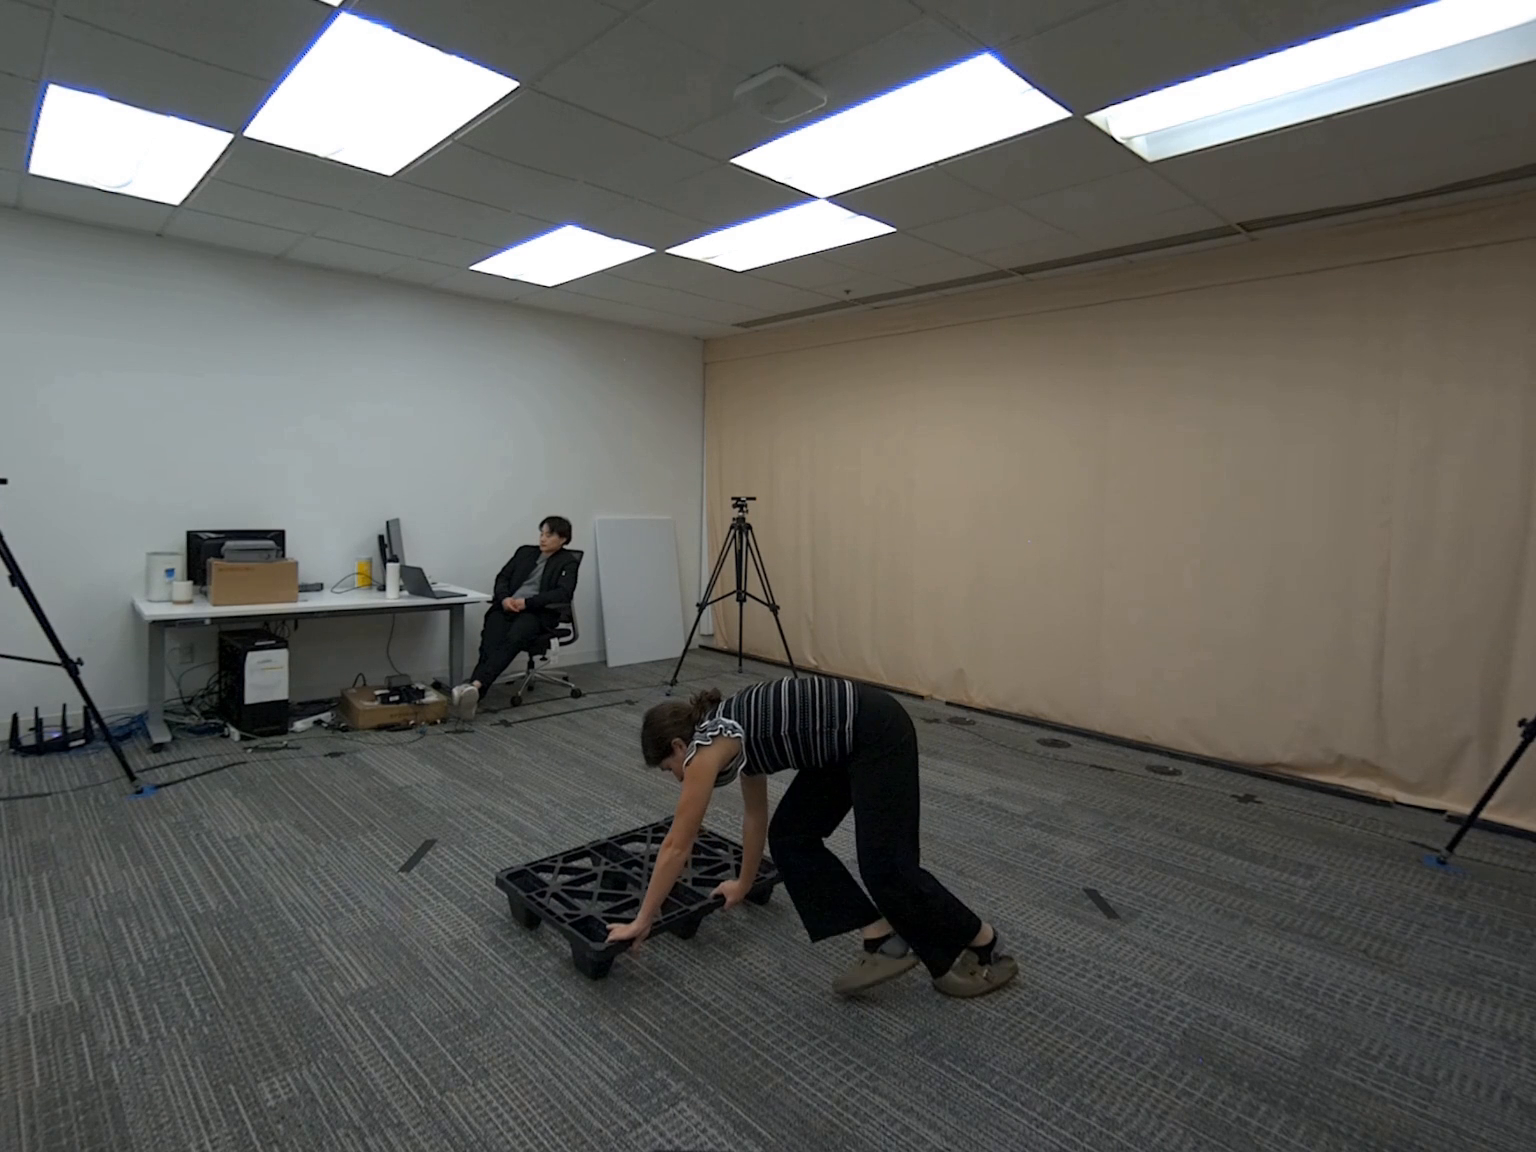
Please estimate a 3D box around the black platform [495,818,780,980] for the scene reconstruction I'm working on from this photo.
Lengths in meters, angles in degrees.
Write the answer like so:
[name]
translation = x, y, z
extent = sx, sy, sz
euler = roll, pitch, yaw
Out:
[black platform]
translation = -0.422, 1.055, 2.827
extent = 0.787, 0.143, 0.621
euler = -4, 8, -45
